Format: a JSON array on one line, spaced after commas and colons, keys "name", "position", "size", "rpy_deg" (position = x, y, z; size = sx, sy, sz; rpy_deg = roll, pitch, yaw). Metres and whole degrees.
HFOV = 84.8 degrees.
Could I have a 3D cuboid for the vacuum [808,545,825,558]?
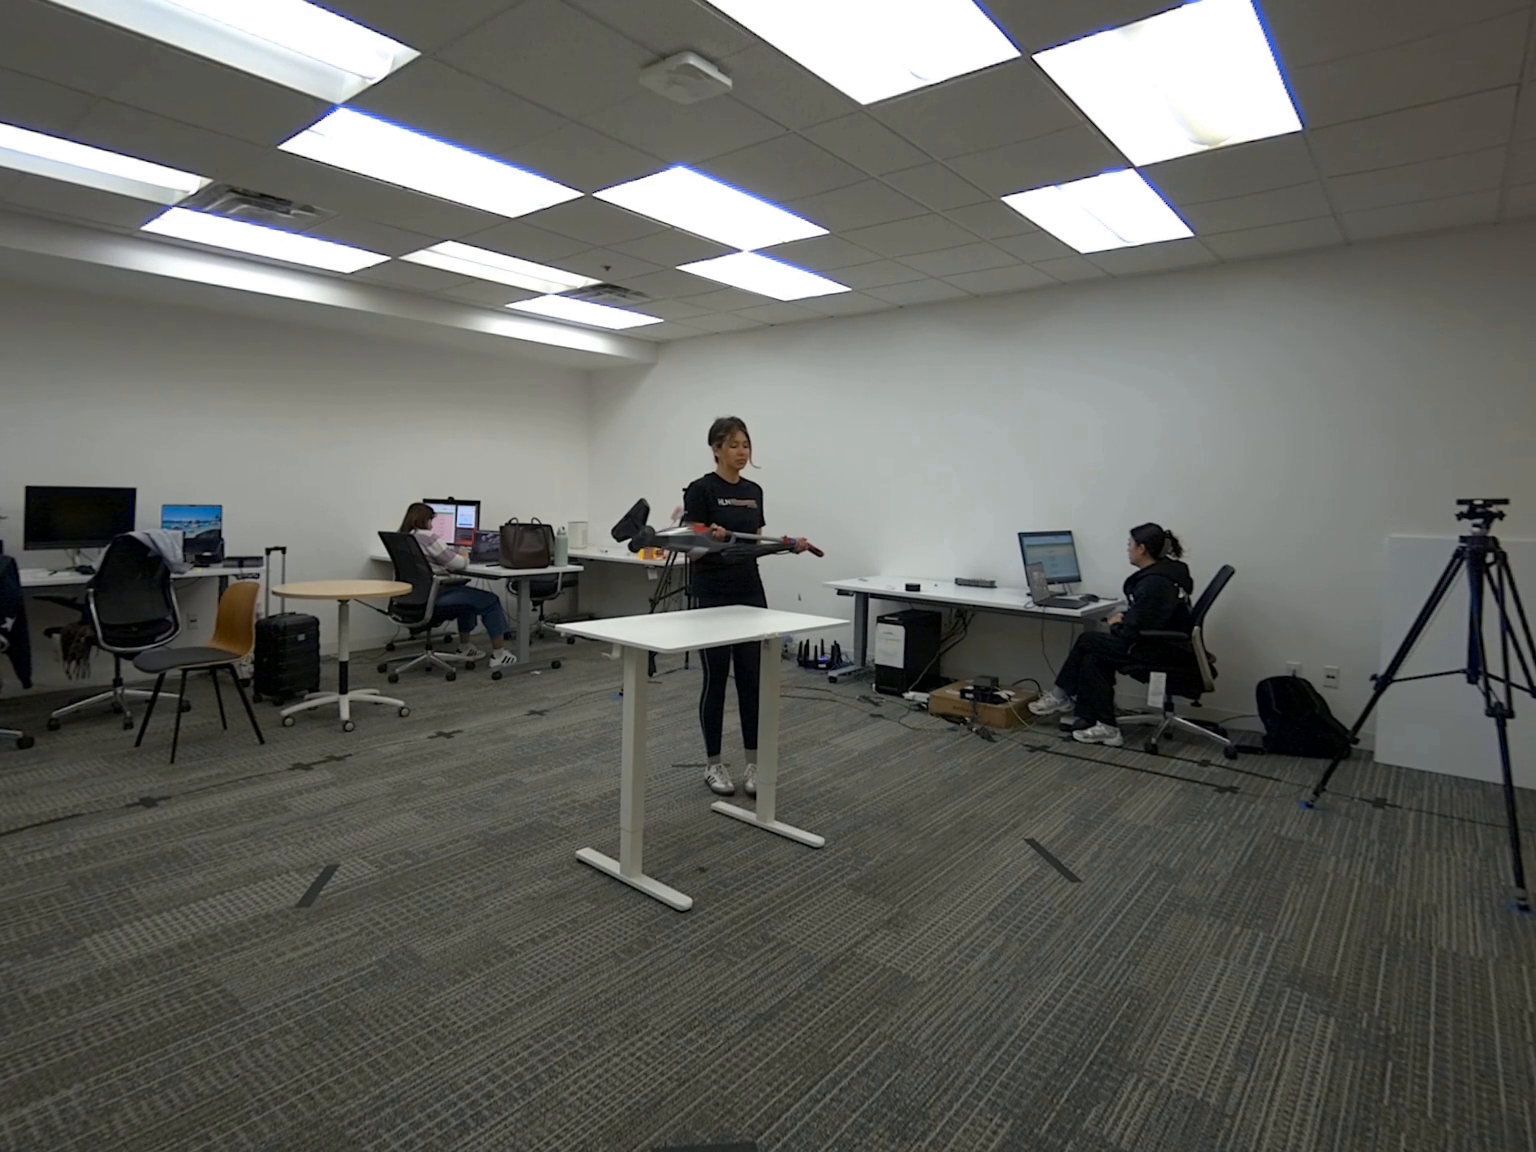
[{"name": "vacuum", "position": [-0.154, -0.141, 3.648], "size": [1.014, 0.148, 0.254], "rpy_deg": [7, -34, -36]}]
